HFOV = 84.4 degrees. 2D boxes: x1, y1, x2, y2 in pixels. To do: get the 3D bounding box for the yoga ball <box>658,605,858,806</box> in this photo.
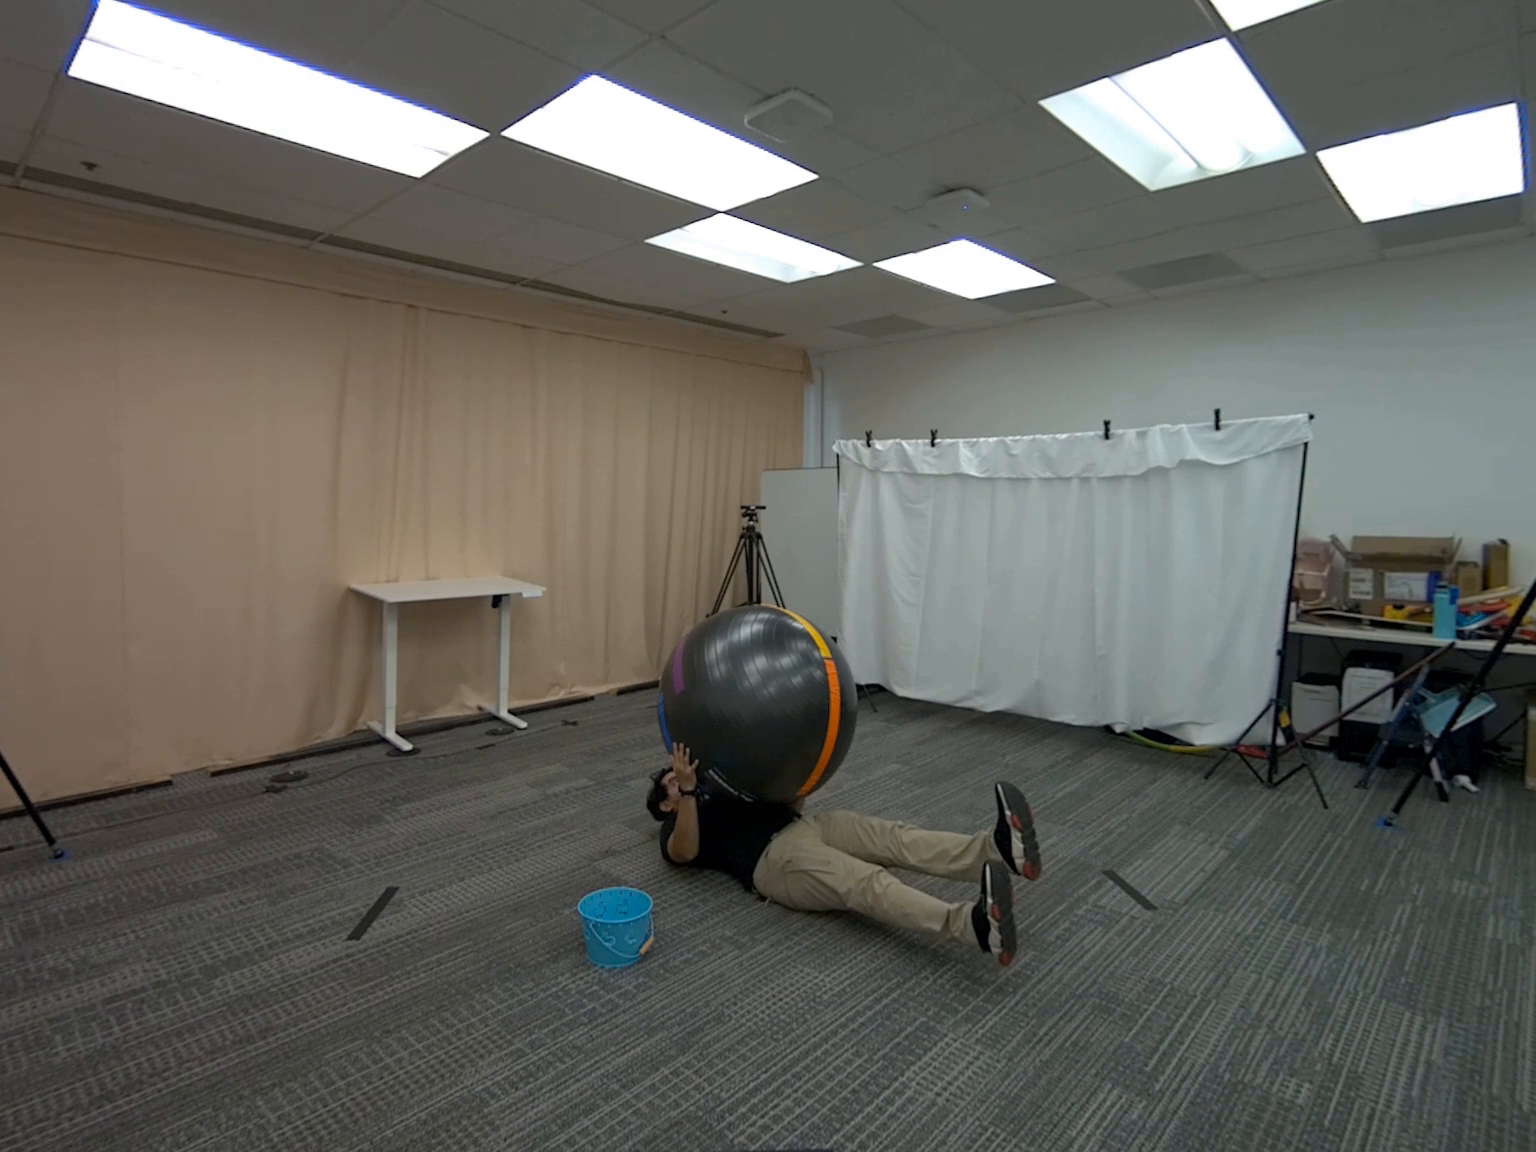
[{"bbox_3d":[-0.039,0.491,3.198,0.757,0.756,0.761,0,4,-2],"label":"yoga ball"}]
